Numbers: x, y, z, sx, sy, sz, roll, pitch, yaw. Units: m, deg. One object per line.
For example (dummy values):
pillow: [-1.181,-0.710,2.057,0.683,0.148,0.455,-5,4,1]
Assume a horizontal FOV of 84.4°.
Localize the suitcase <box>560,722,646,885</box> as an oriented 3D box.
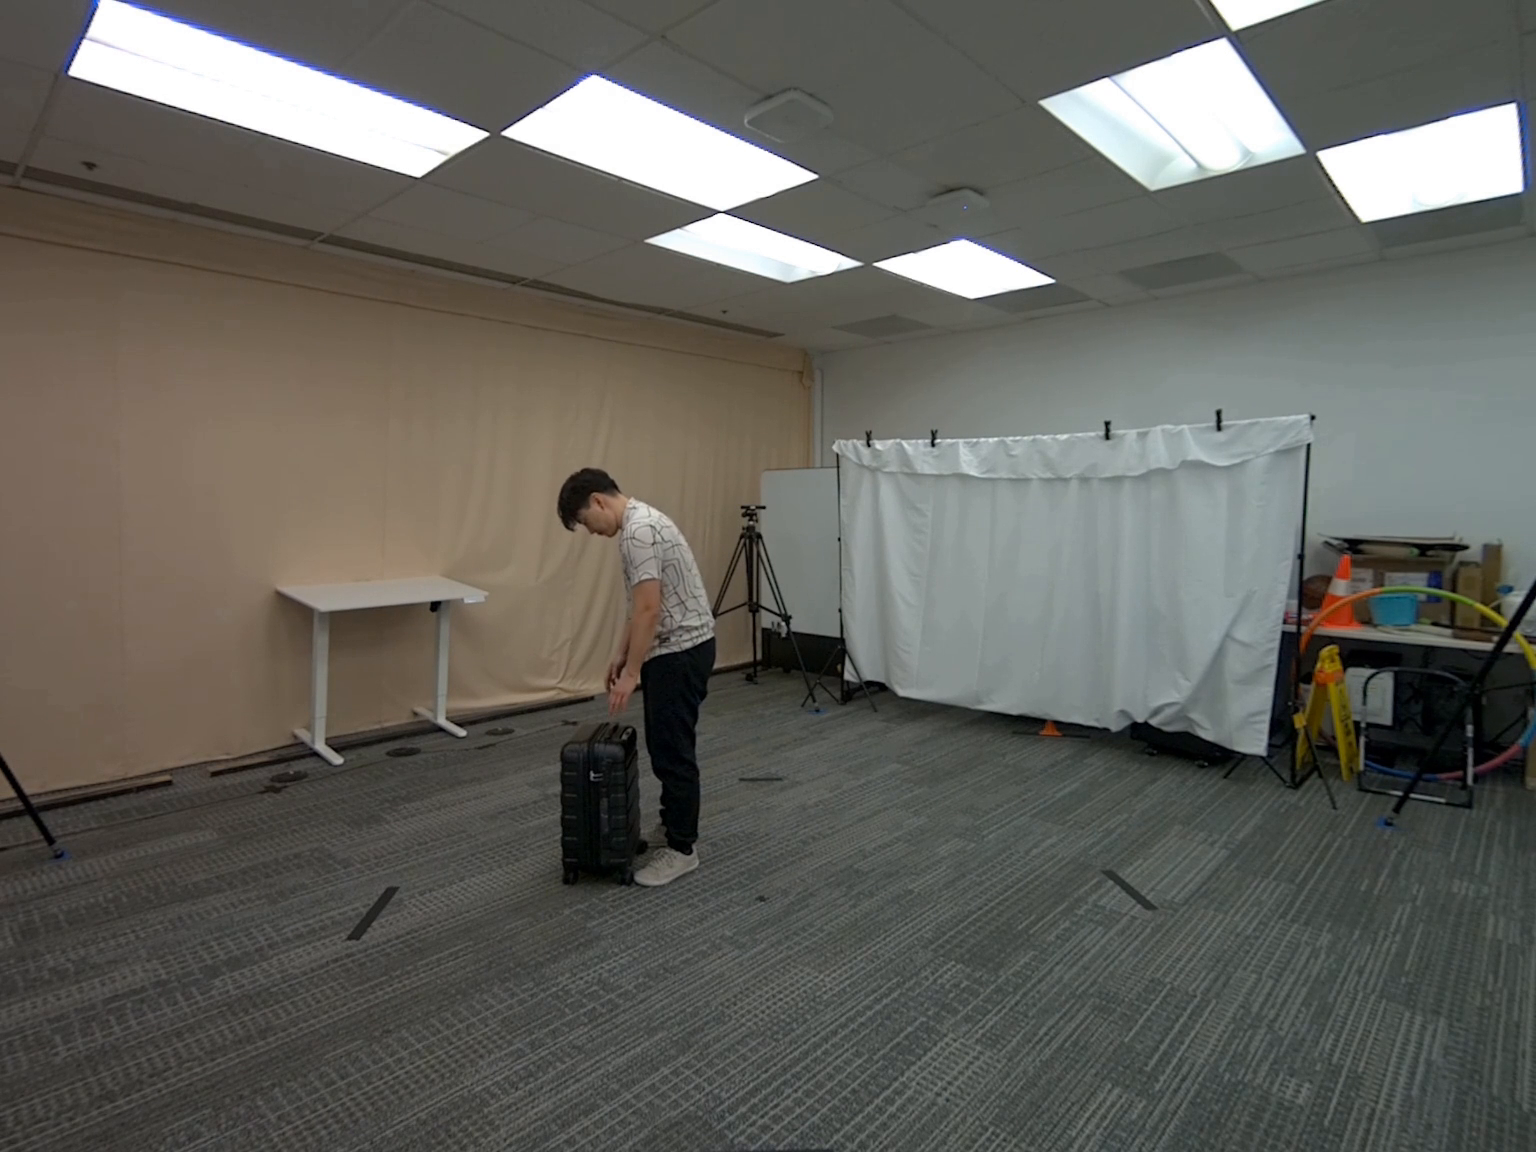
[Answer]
suitcase: [-0.642,0.855,3.222,0.249,0.548,0.375,-2,4,1]
